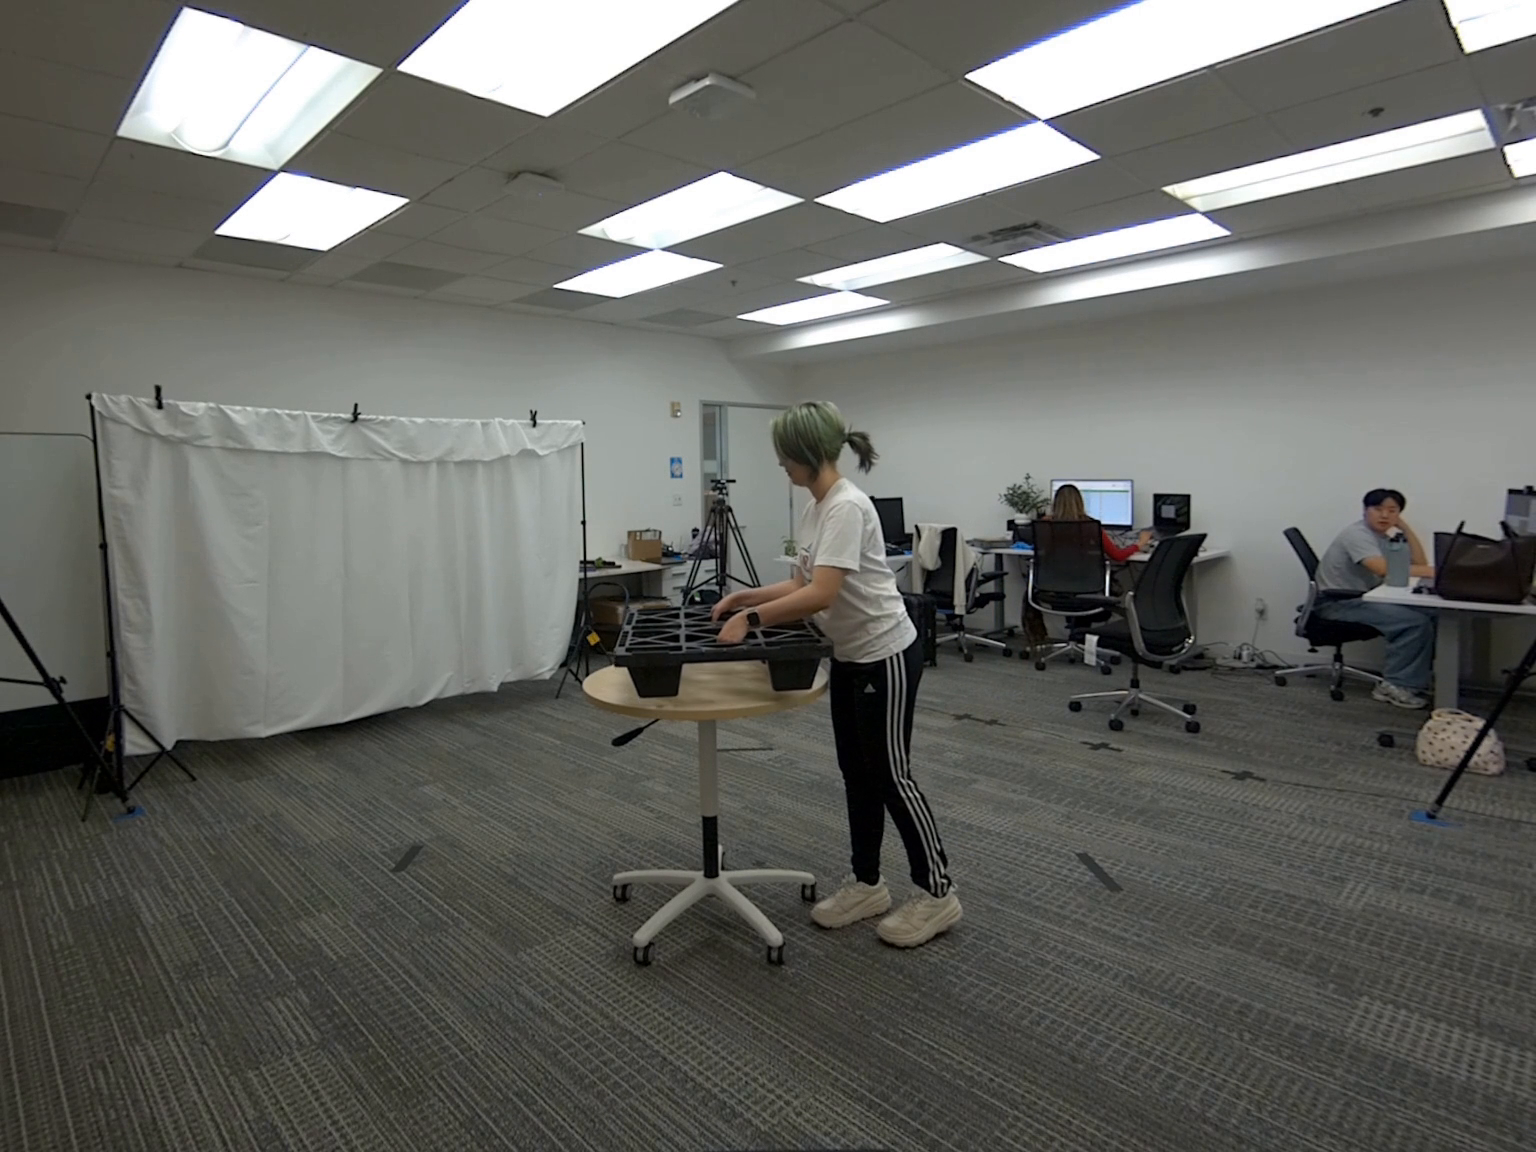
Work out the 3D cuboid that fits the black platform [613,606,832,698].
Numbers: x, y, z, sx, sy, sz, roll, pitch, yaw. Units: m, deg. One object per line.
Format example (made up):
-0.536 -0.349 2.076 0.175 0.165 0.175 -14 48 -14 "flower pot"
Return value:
-0.156 0.210 2.680 0.603 0.142 0.812 -2 6 -5 "black platform"
